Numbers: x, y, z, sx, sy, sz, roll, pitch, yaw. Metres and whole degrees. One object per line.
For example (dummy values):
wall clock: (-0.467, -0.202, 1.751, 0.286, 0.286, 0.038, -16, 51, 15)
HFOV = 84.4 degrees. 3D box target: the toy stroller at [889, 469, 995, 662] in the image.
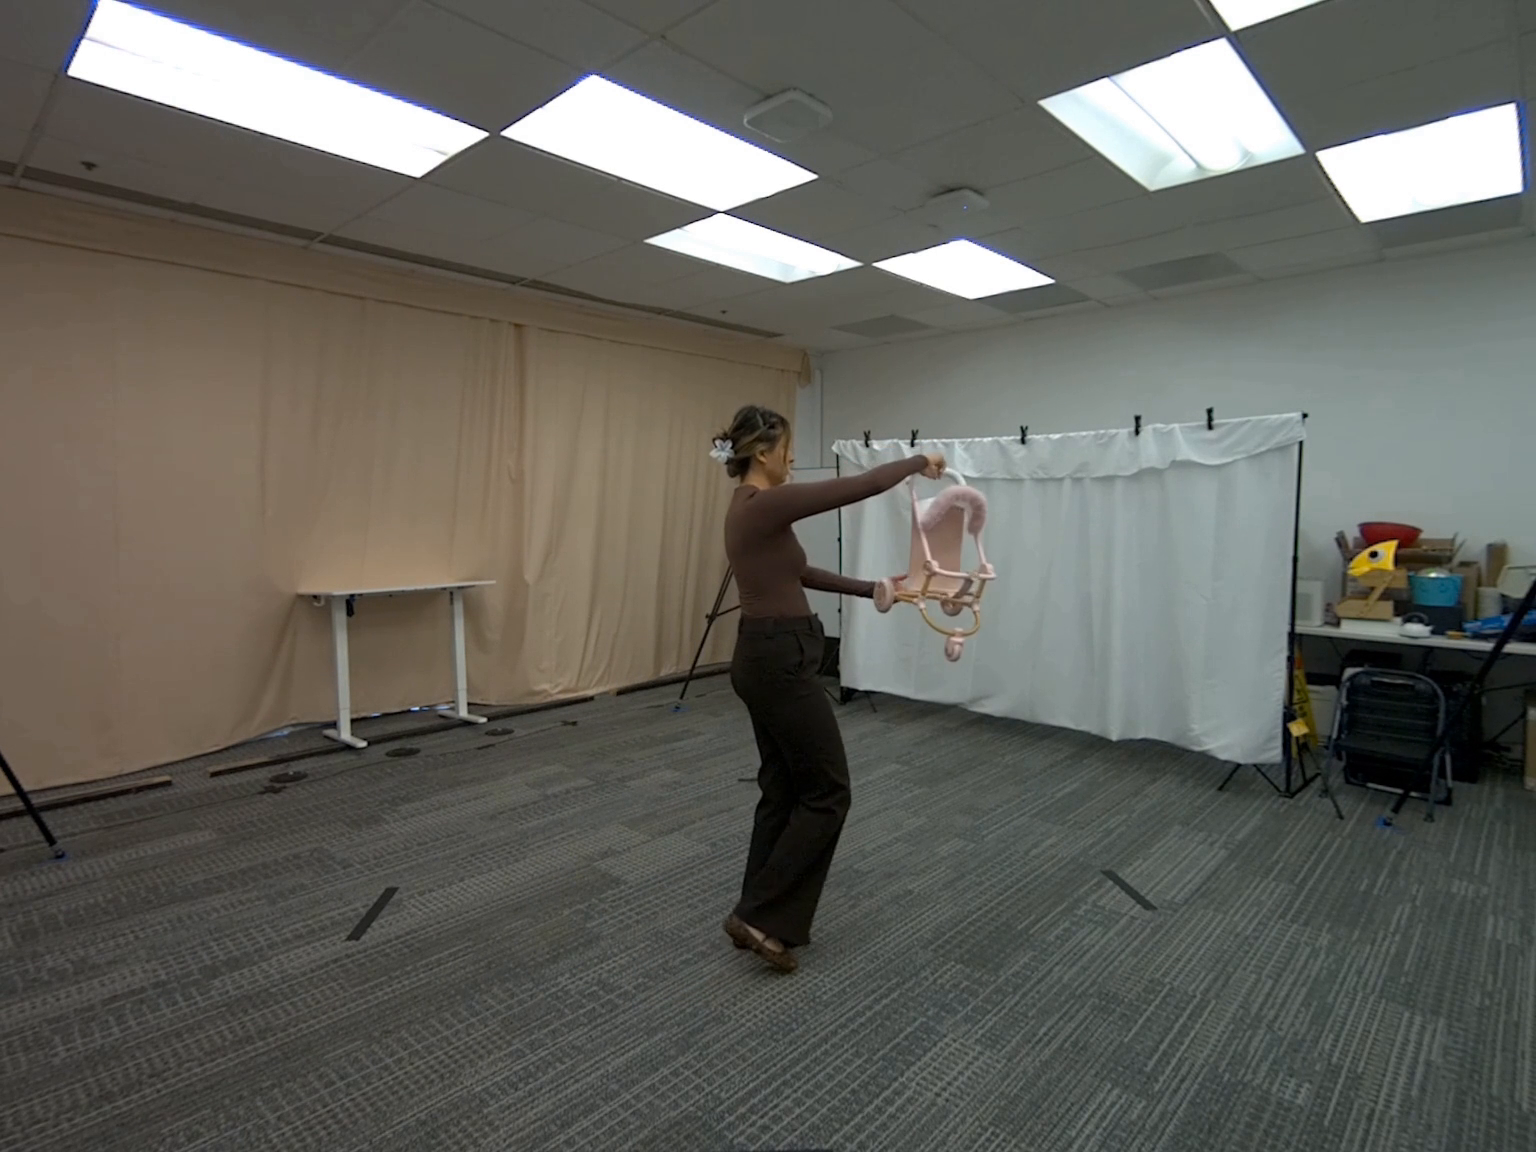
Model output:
toy stroller: (0.532, -0.042, 2.525, 0.277, 0.532, 0.349, 5, 13, -16)
